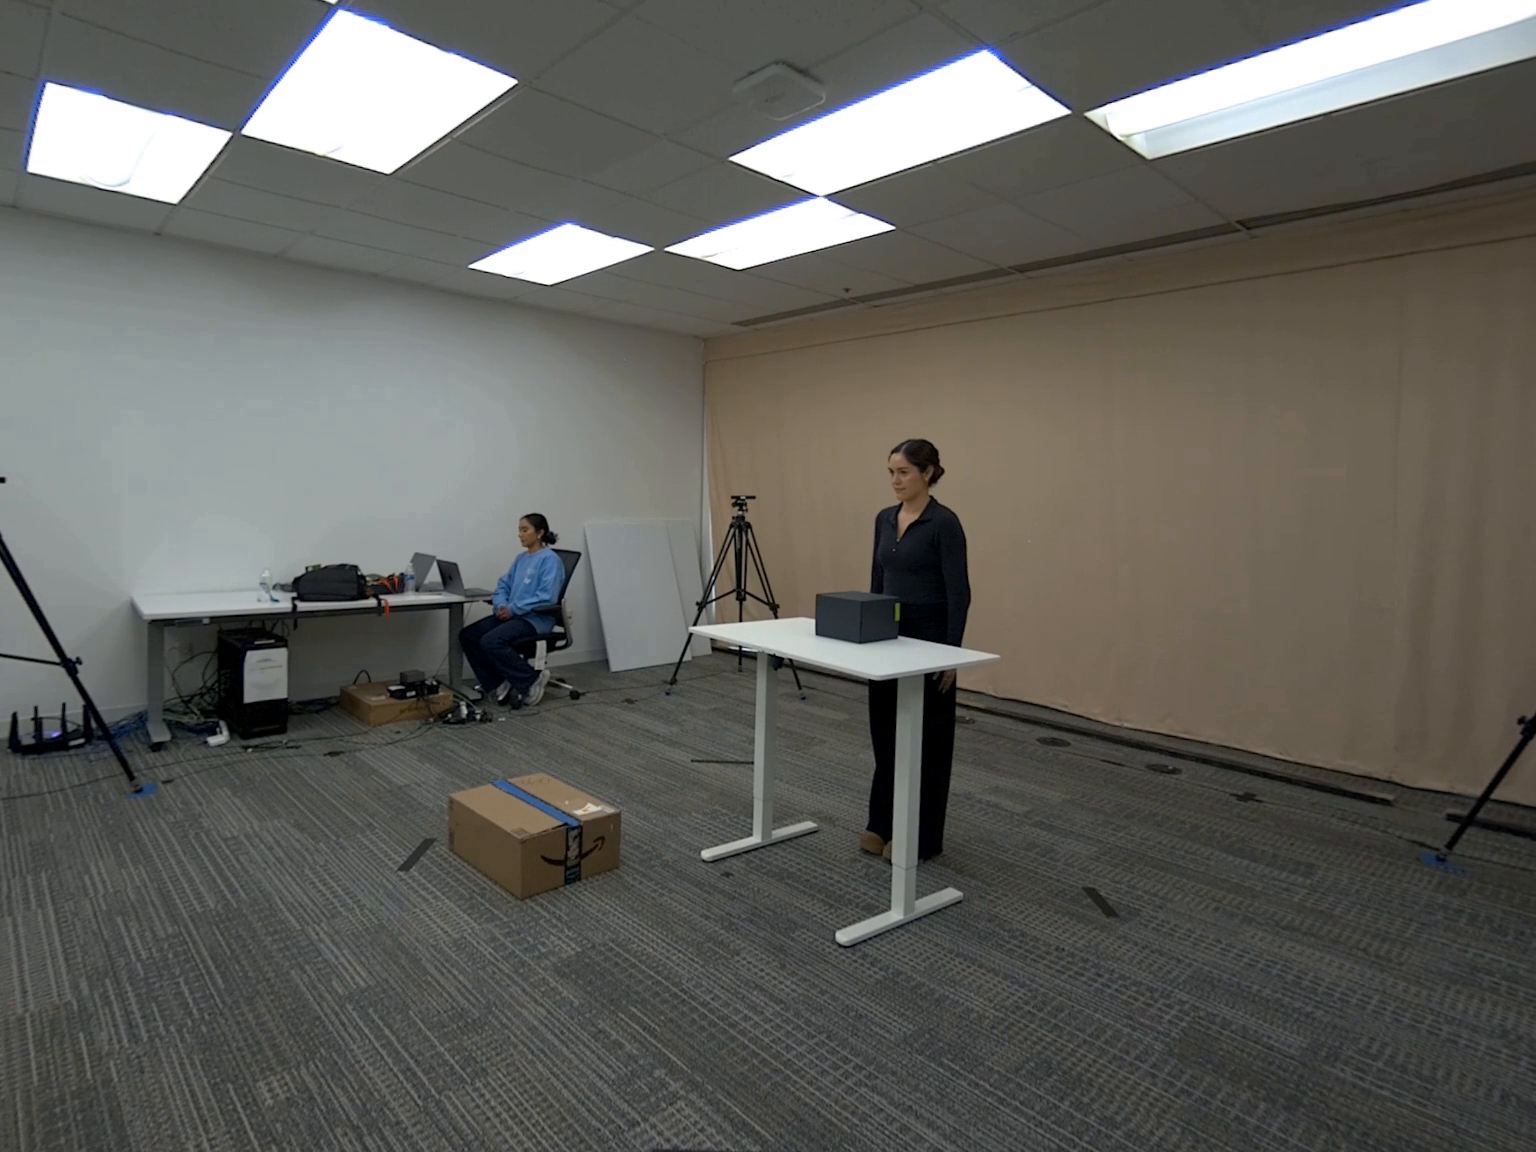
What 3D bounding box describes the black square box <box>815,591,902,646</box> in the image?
[{"bbox_3d":[0.335,0.151,3.128,0.212,0.155,0.234,-3,6,-42],"label":"black square box"}]
